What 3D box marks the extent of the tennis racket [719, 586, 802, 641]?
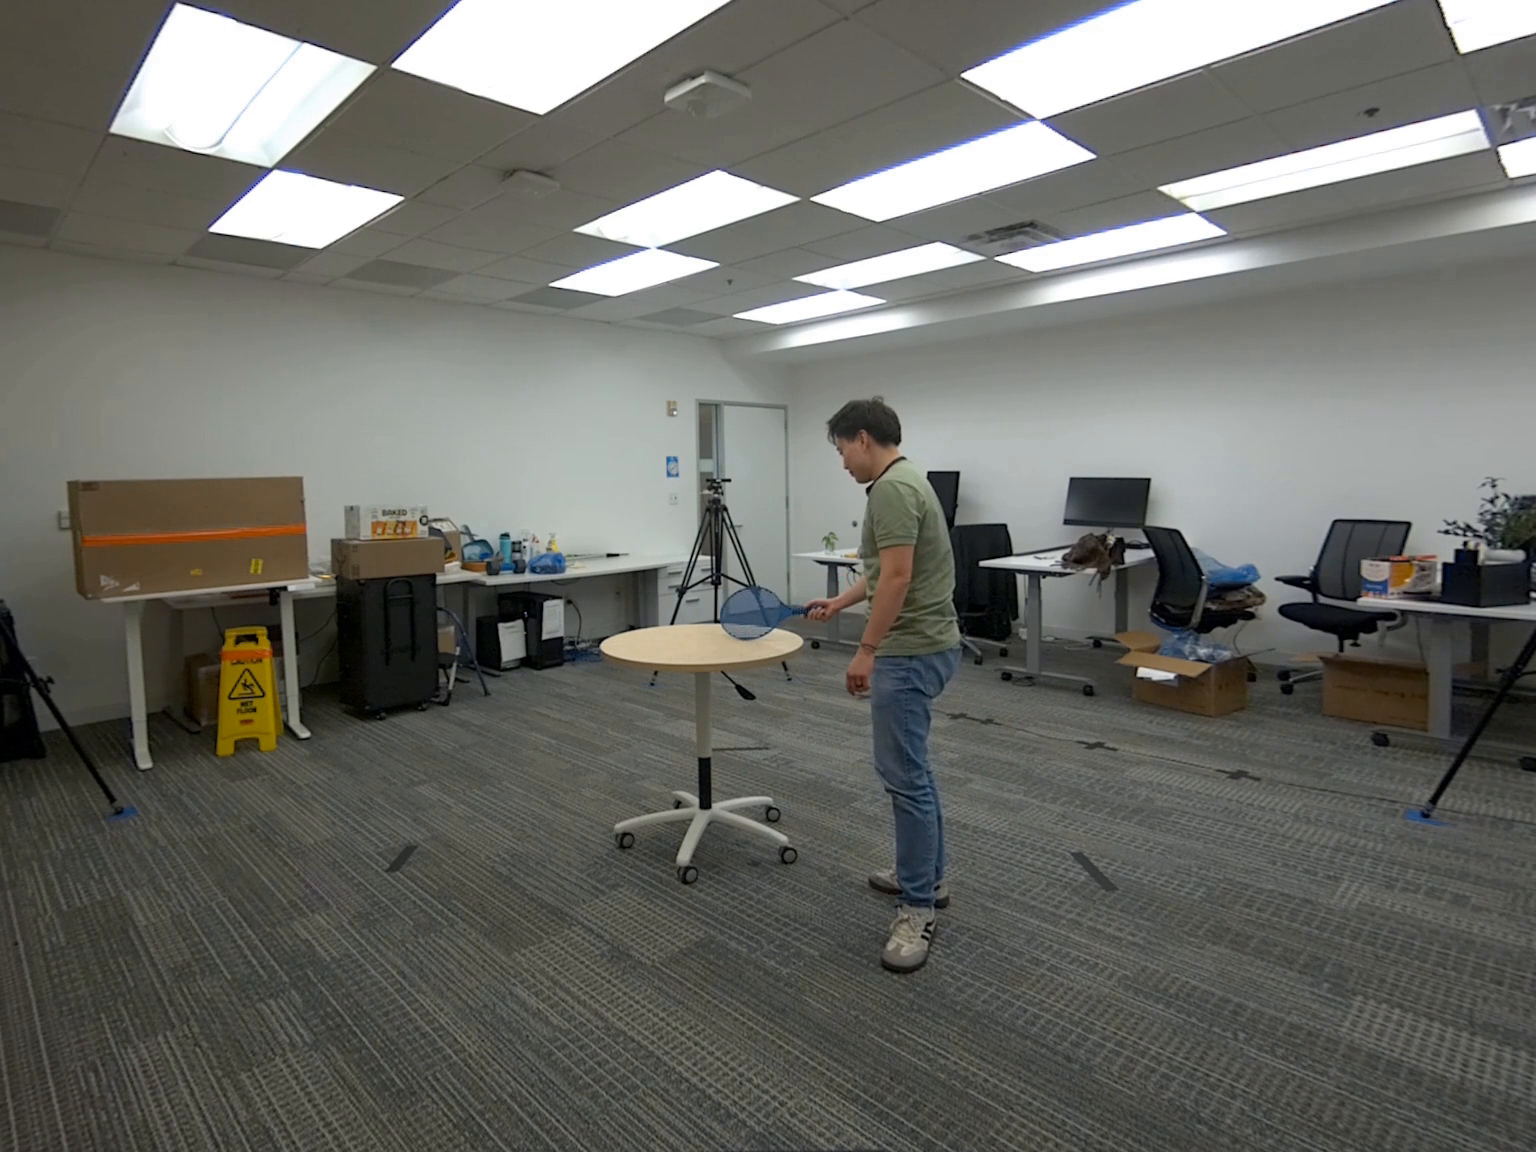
[{"bbox_3d":[0.006,0.137,3.238,0.443,0.217,0.030,-2,-21,28],"label":"tennis racket"}]
